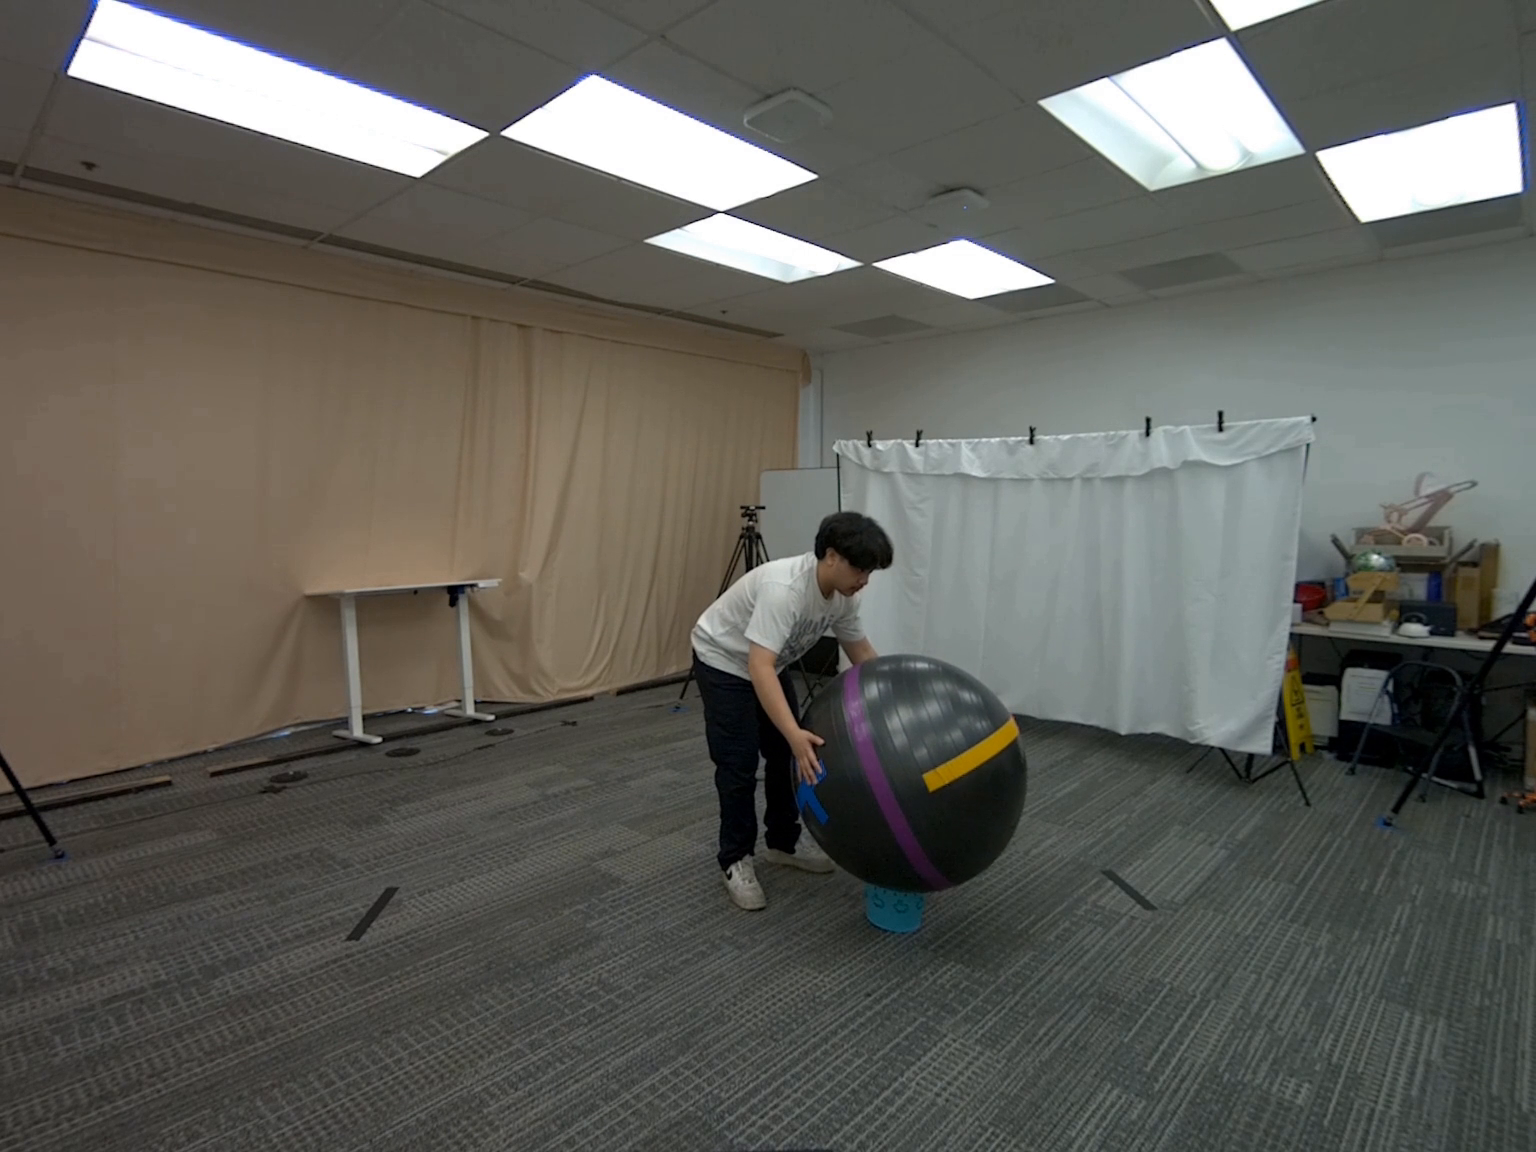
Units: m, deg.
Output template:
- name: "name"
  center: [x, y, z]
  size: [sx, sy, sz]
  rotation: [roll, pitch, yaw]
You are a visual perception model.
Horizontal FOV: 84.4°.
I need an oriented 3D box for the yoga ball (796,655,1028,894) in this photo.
- name: "yoga ball"
  center: [0.460, 0.646, 2.787]
  size: [0.757, 0.756, 0.760]
  rotation: [0, 4, -2]
